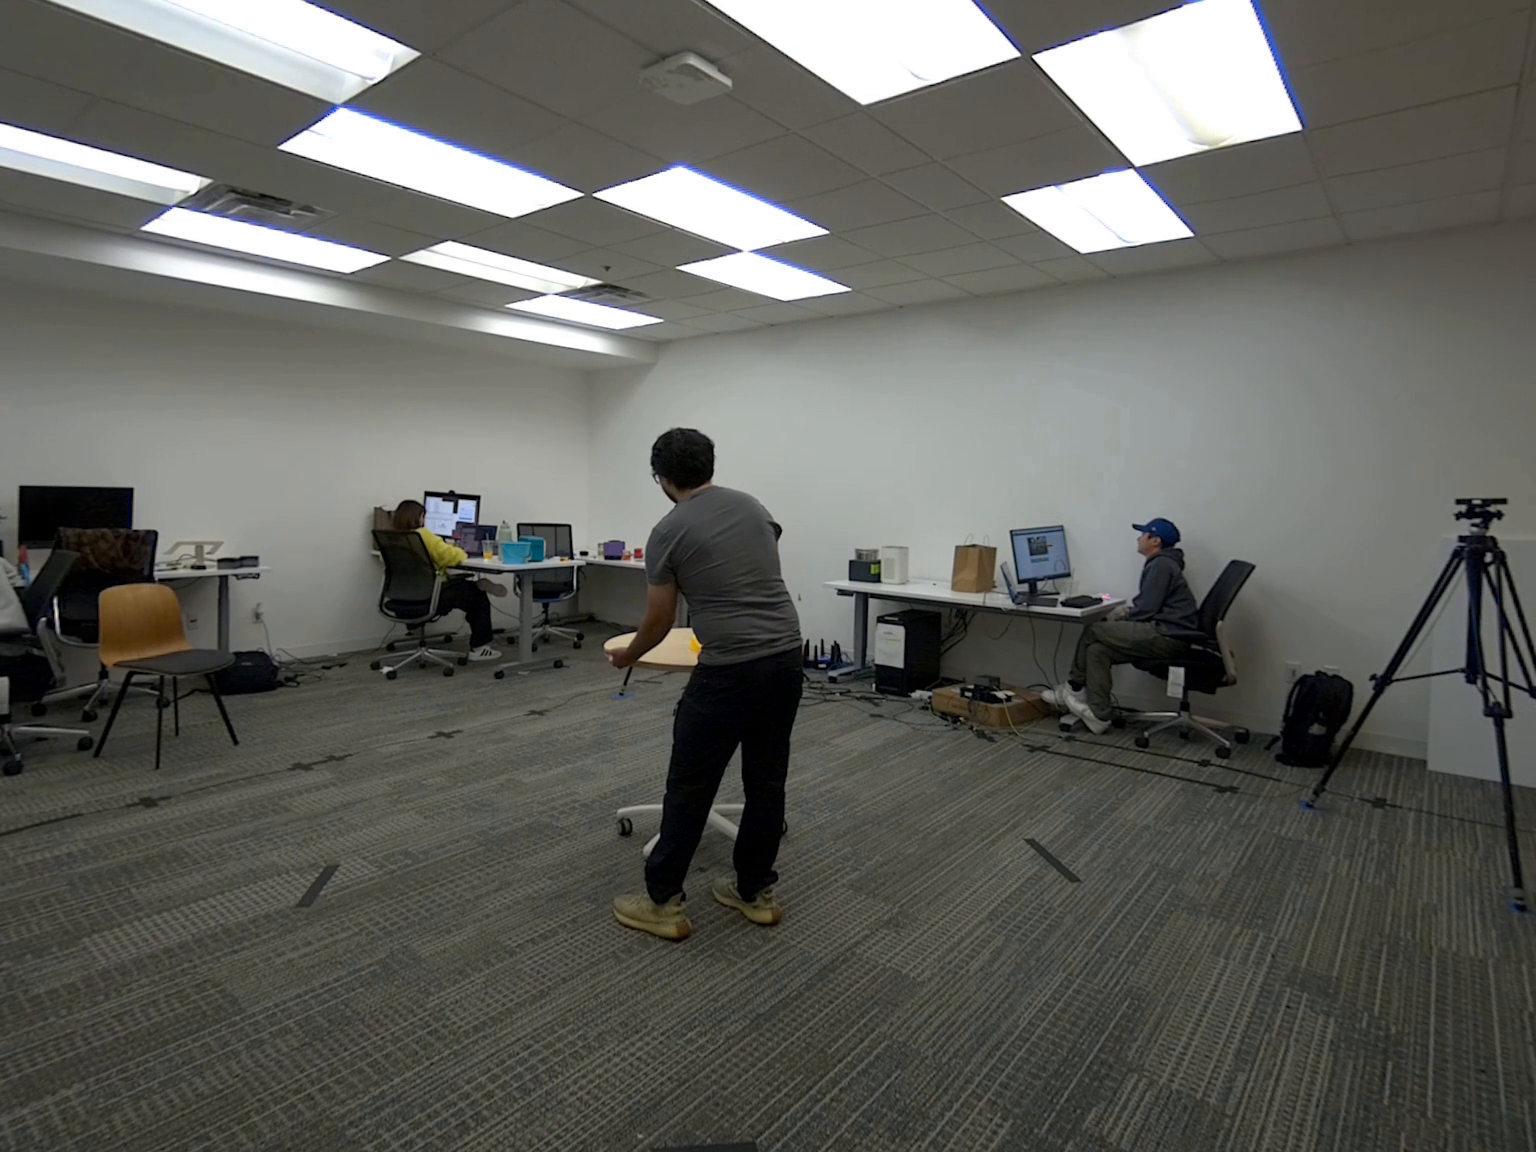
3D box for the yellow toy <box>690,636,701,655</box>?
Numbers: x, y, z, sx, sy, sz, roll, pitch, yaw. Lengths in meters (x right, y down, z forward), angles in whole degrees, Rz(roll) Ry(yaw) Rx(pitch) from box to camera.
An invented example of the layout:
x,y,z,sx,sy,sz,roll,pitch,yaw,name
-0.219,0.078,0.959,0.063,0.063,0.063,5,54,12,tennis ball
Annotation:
x,y,z,sx,sy,sz,roll,pitch,yaw,name
-0.203,0.160,3.235,0.199,0.230,0.199,0,5,-28,yellow toy
